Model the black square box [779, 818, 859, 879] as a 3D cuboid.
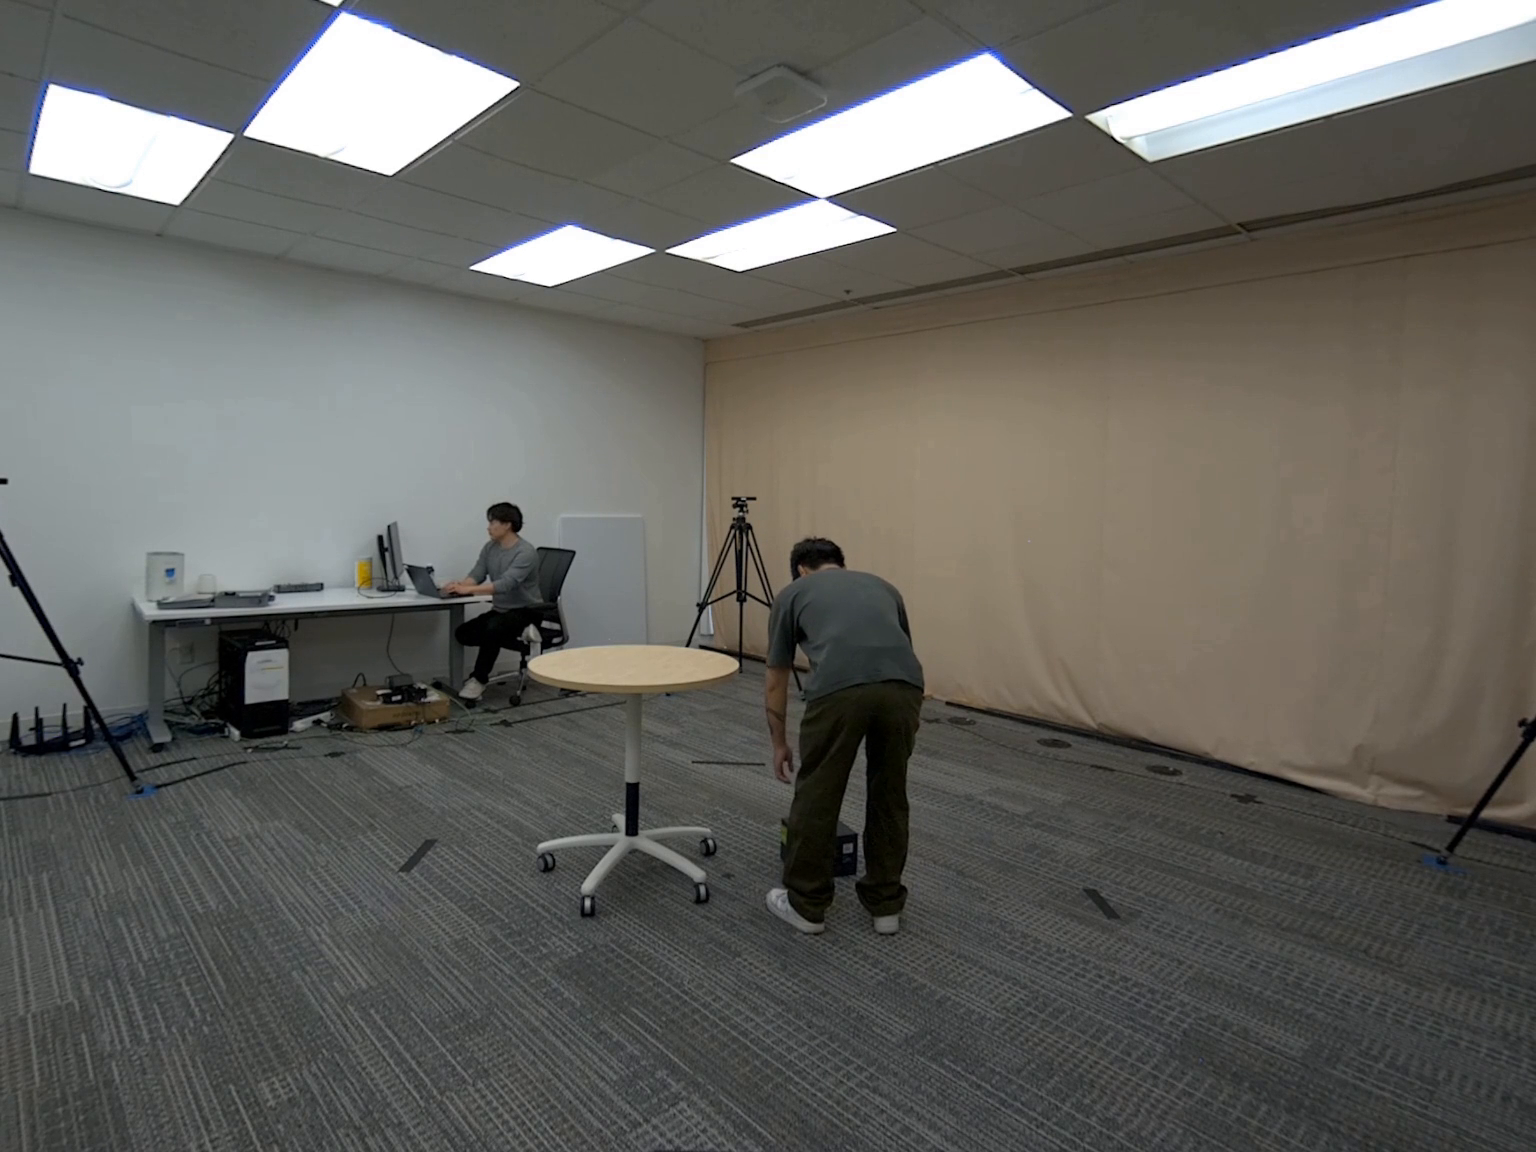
[{"bbox_3d":[0.188,1.022,3.202,0.213,0.155,0.232,-1,4,-23],"label":"black square box"}]
